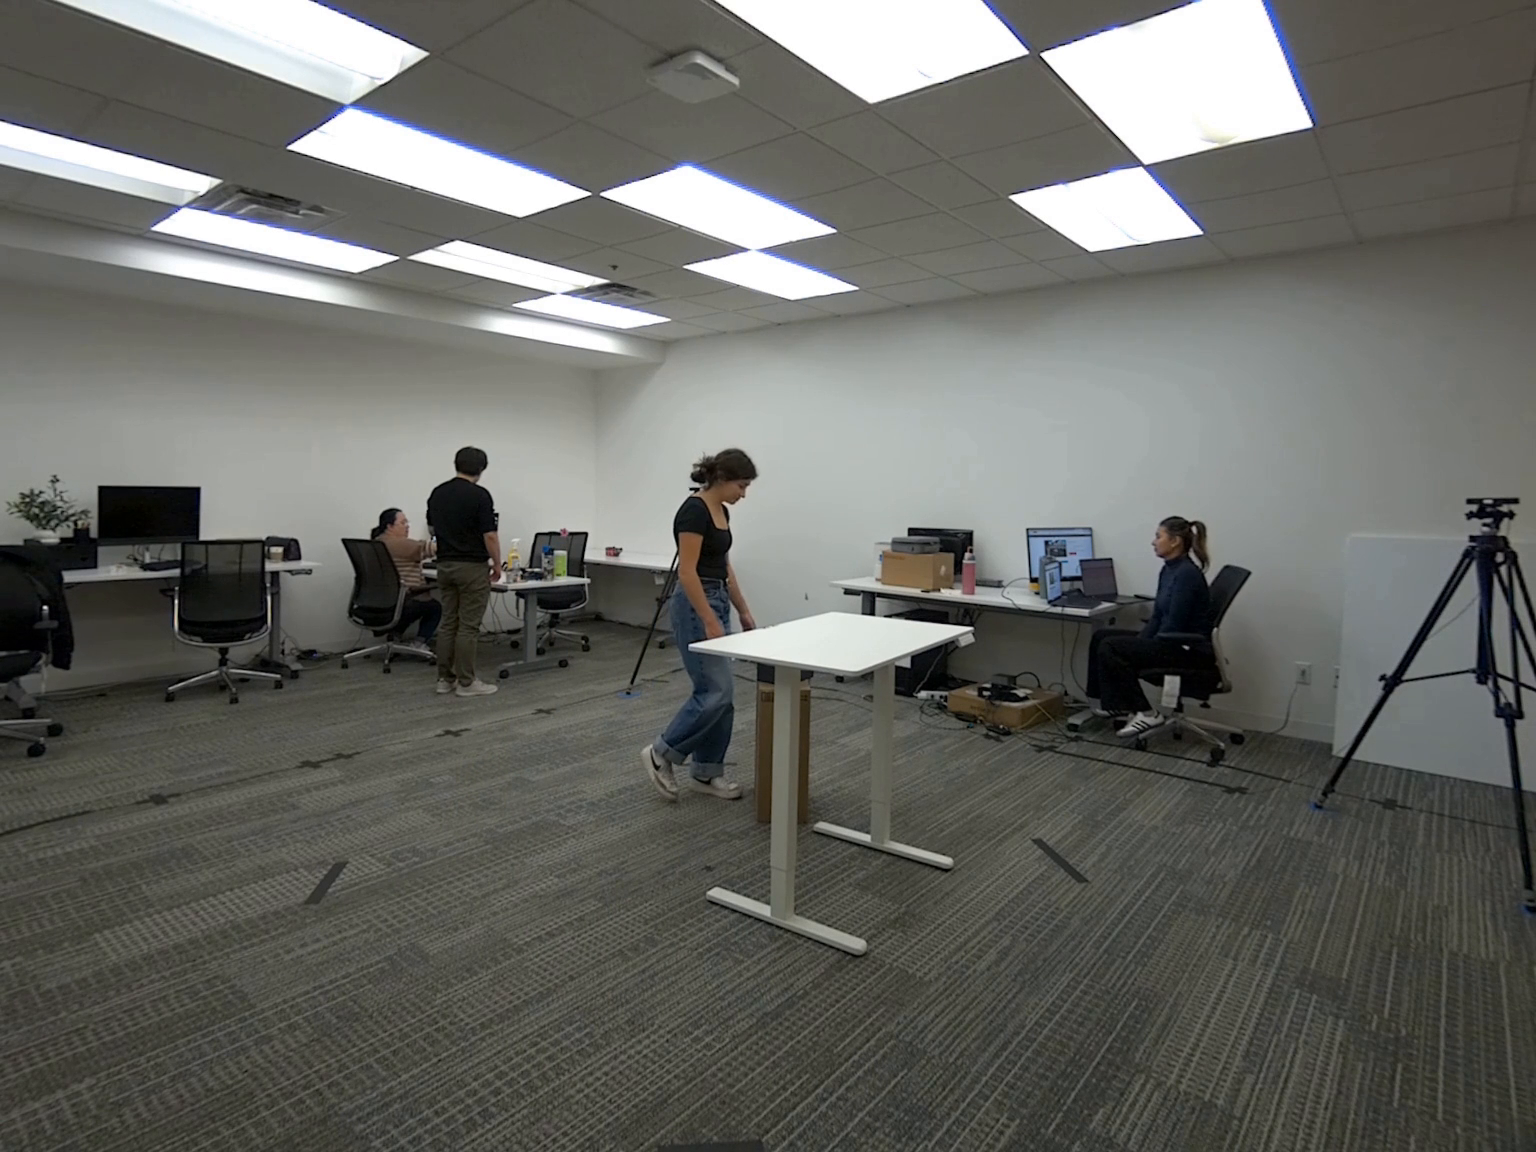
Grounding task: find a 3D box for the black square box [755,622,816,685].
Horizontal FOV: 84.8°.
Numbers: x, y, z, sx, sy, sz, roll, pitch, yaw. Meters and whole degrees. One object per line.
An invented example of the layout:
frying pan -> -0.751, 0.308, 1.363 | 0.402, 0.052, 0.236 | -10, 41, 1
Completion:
black square box -> 0.077, 0.334, 3.699 | 0.161, 0.227, 0.210 | 5, 5, 44
